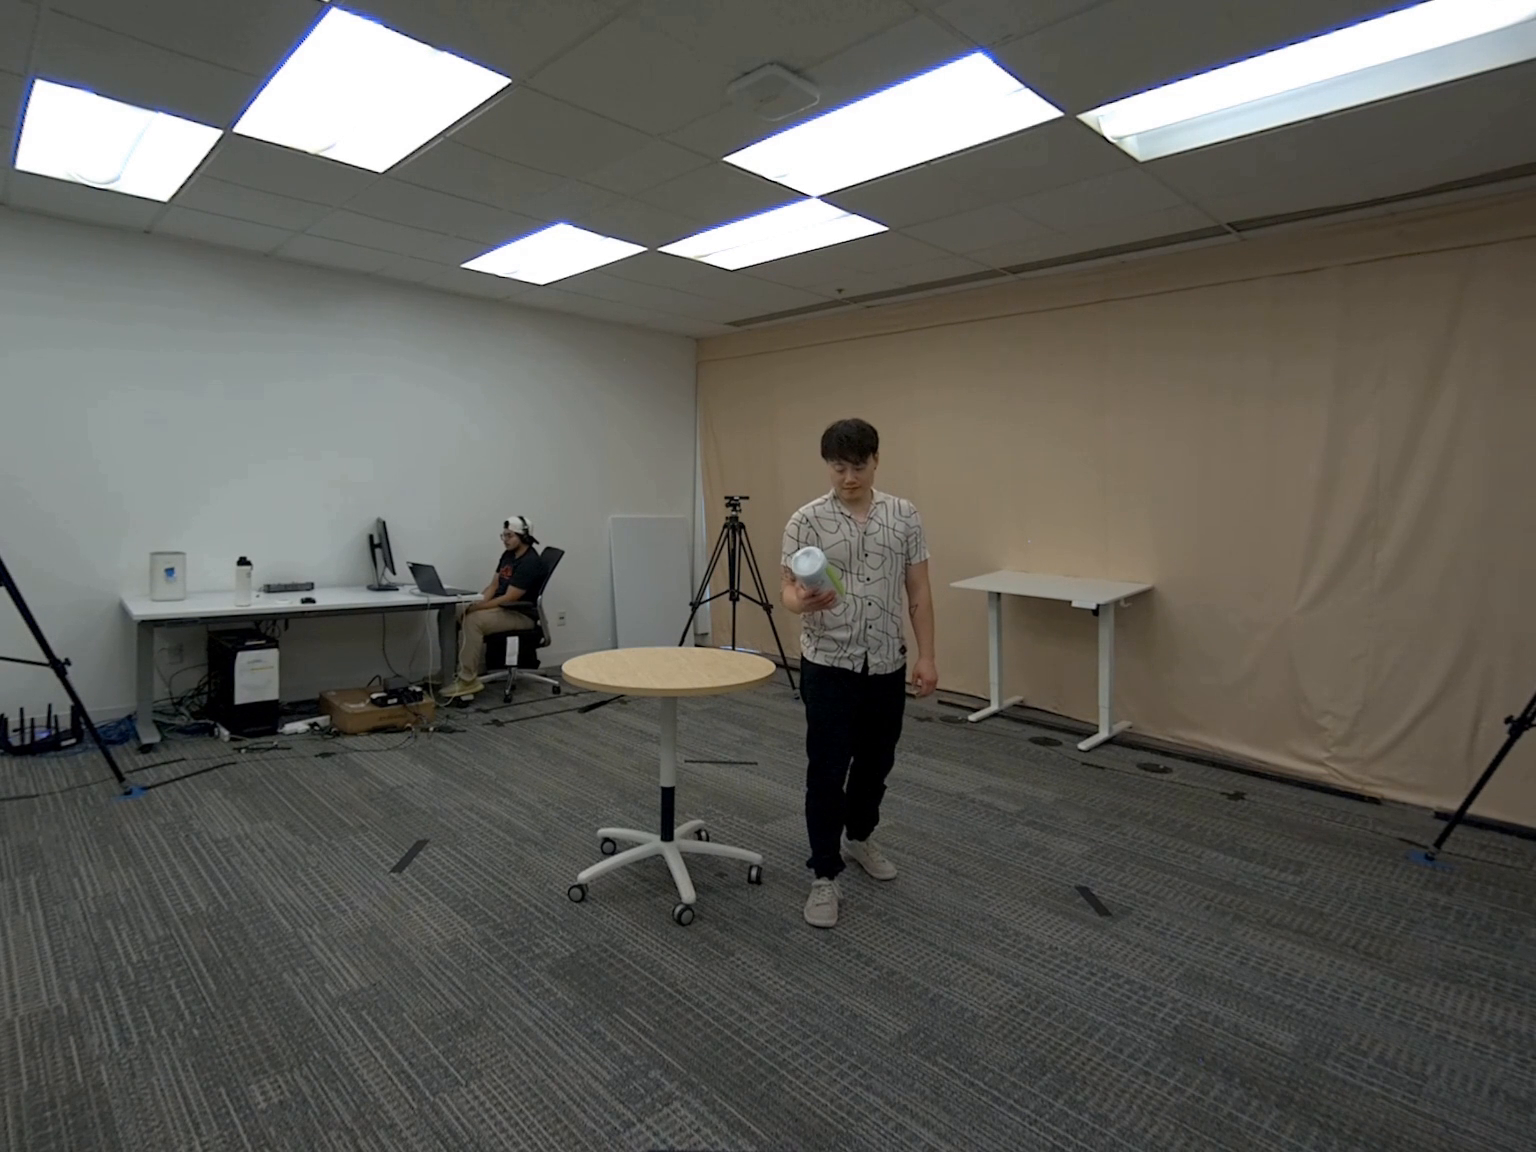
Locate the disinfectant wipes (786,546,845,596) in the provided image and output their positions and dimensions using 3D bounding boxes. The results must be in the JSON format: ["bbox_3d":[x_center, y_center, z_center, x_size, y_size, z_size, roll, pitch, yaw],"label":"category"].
[{"bbox_3d":[0.140,0.007,2.606,0.120,0.119,0.211,3,-29,23],"label":"disinfectant wipes"}]
